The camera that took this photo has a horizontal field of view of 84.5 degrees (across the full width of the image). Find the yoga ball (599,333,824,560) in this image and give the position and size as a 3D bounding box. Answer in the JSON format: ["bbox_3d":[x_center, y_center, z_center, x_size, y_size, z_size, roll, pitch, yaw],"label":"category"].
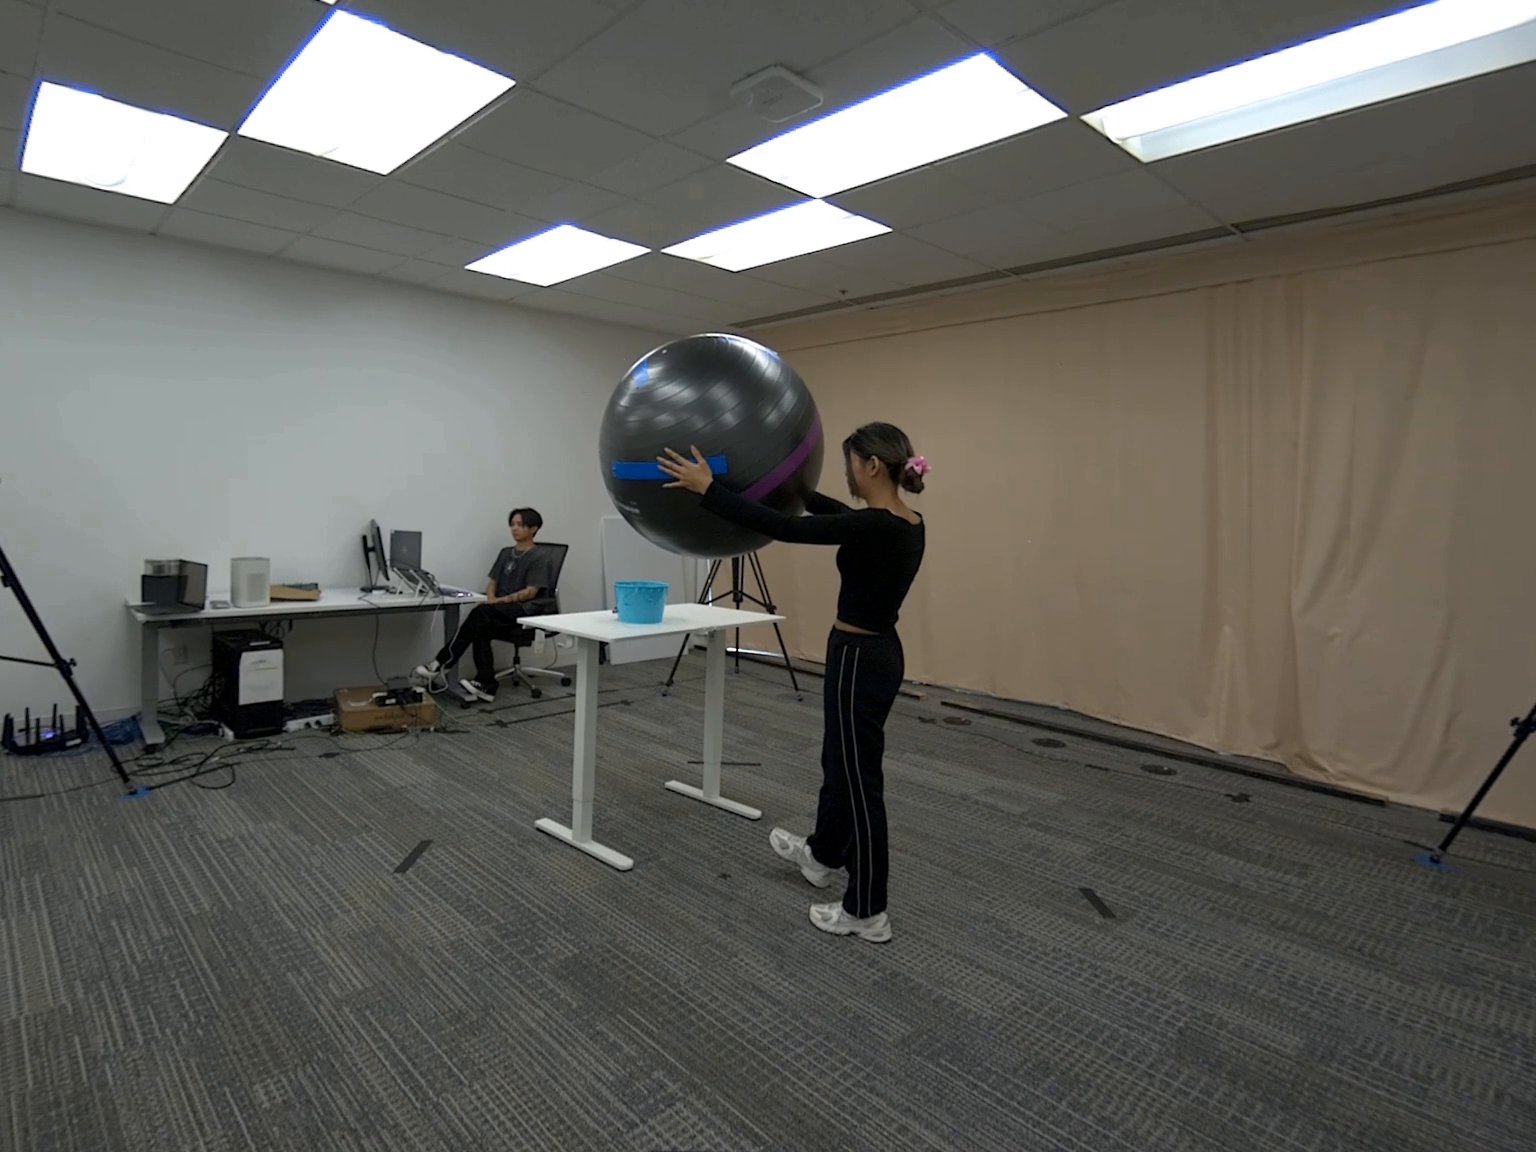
[{"bbox_3d":[-0.198,-0.428,2.861,0.757,0.756,0.760,1,4,-1],"label":"yoga ball"}]
